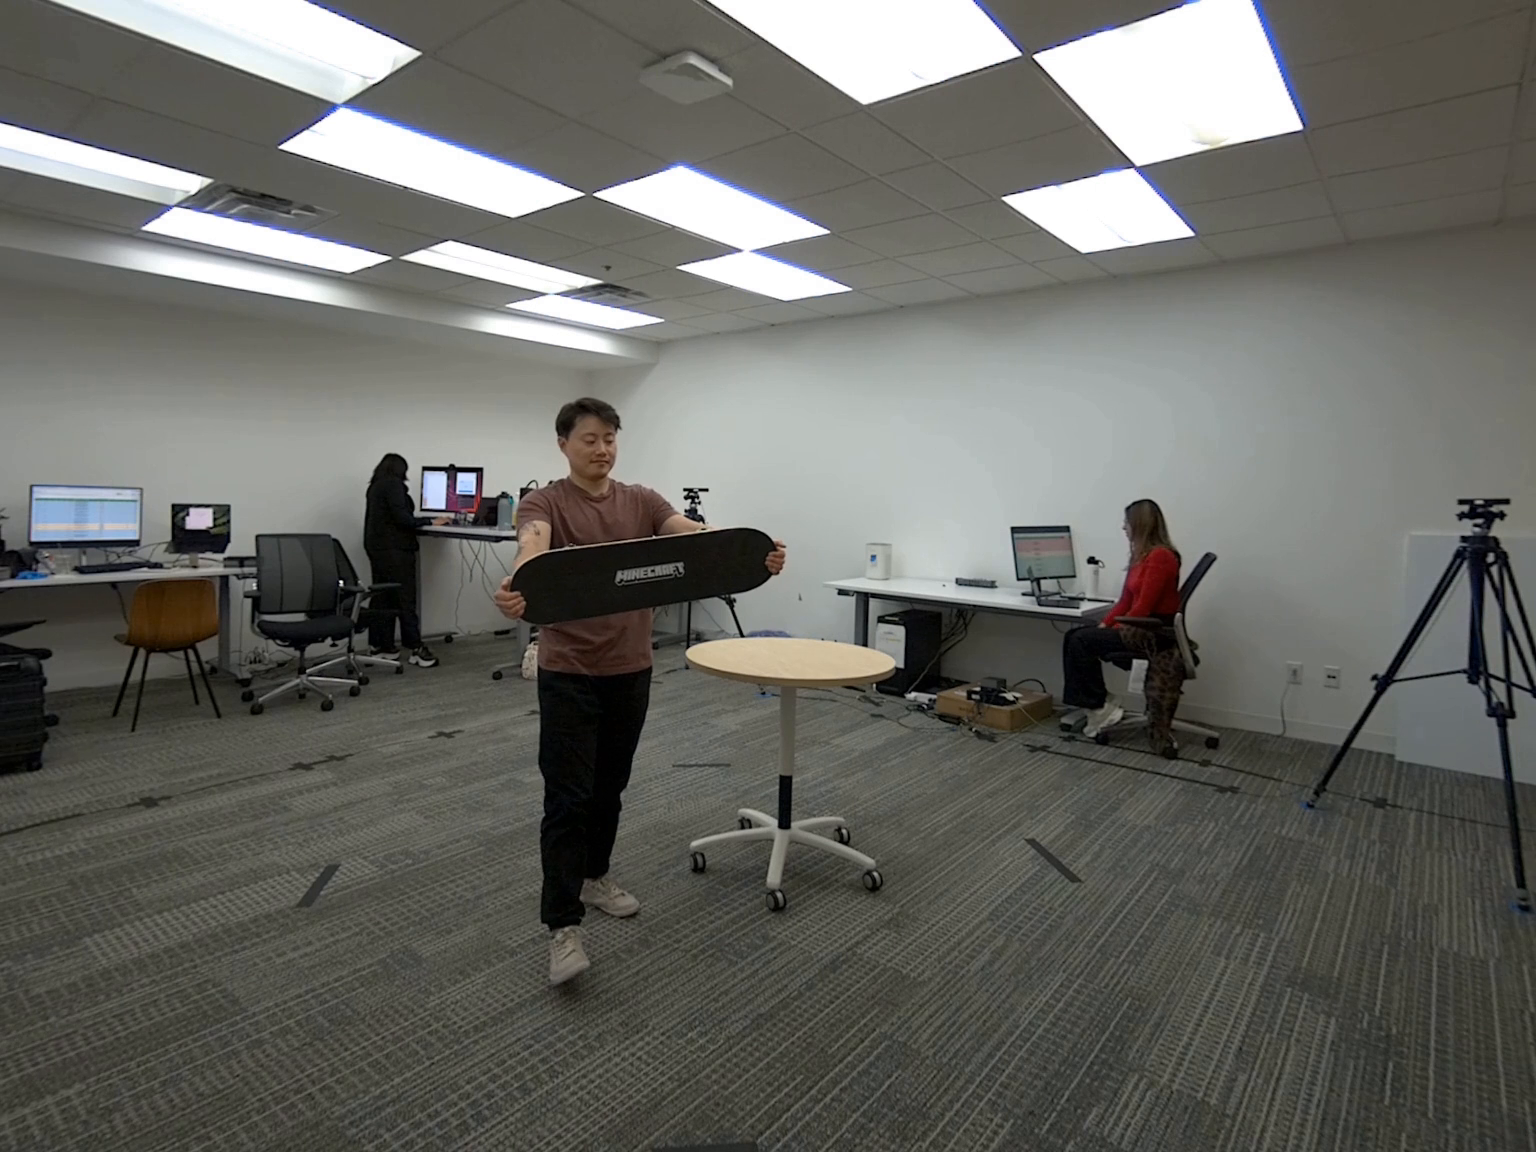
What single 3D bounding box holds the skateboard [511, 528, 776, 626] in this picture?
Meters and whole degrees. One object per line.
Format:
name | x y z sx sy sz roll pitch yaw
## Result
skateboard | -0.334 -0.015 2.349 0.768 0.192 0.114 -10 10 -28
